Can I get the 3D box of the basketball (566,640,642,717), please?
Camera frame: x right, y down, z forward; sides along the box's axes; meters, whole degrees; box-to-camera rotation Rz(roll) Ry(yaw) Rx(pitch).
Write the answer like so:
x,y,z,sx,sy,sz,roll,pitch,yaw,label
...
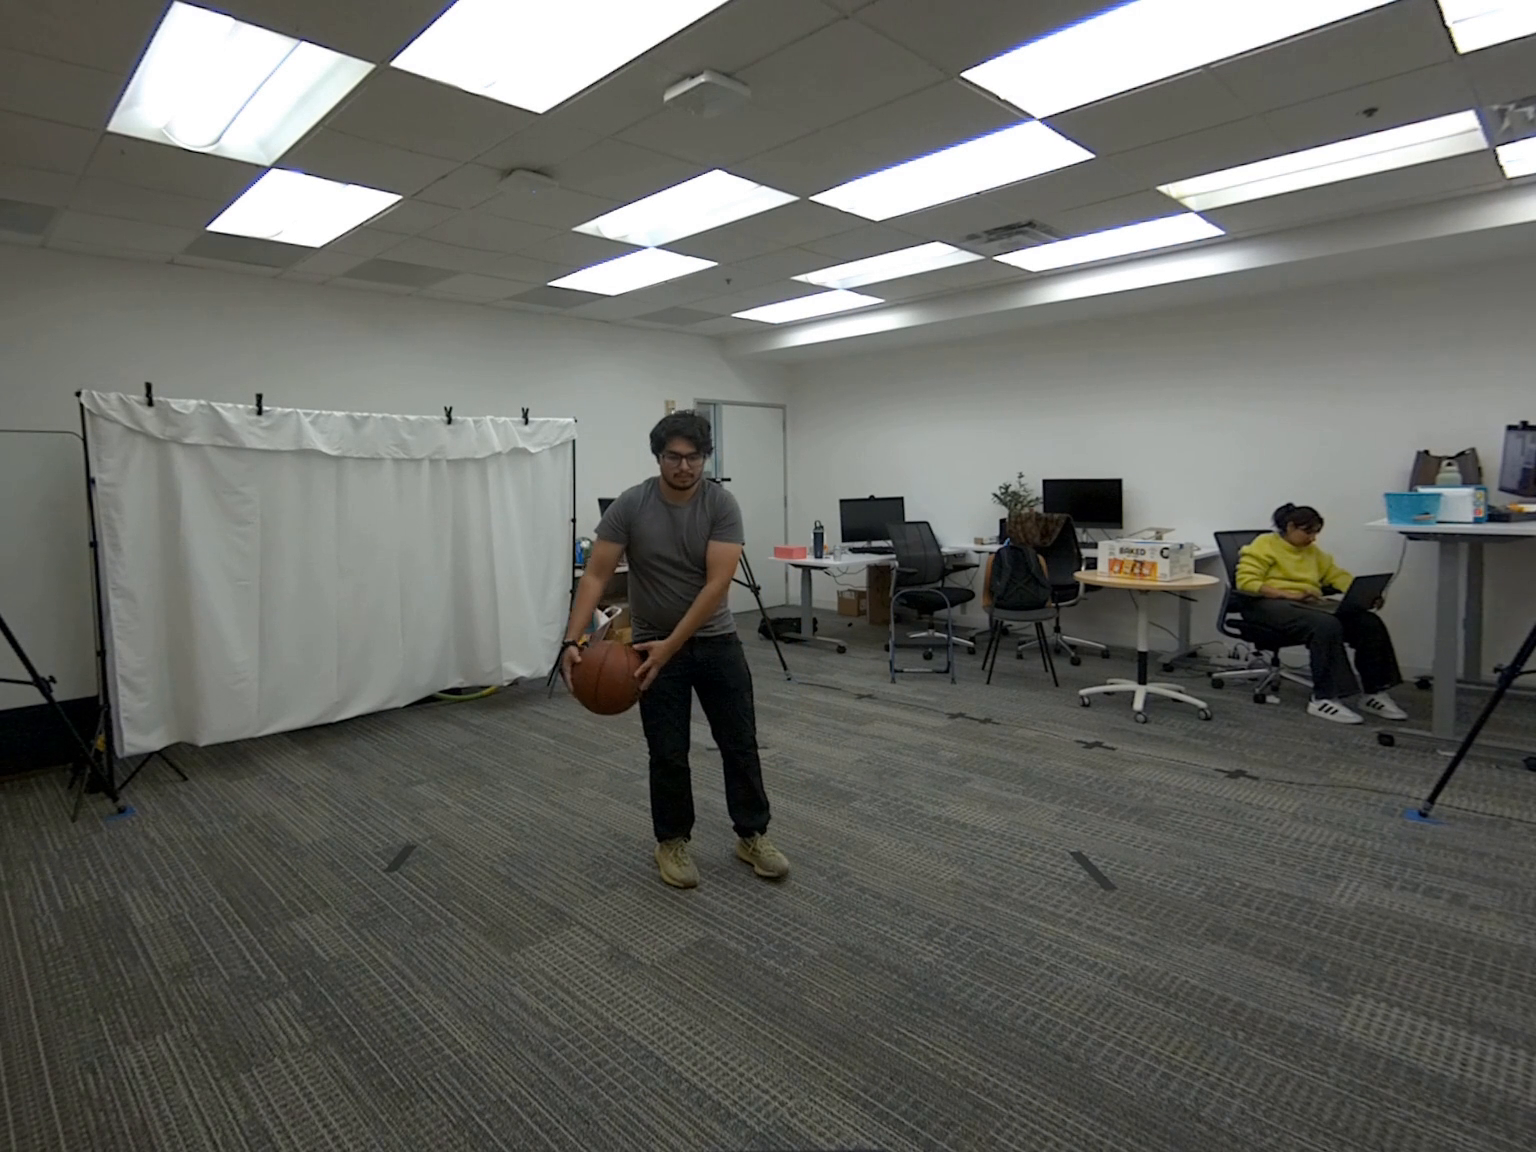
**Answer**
x,y,z,sx,sy,sz,roll,pitch,yaw,label
-0.512,0.317,2.750,0.236,0.235,0.237,-1,5,-2,basketball
